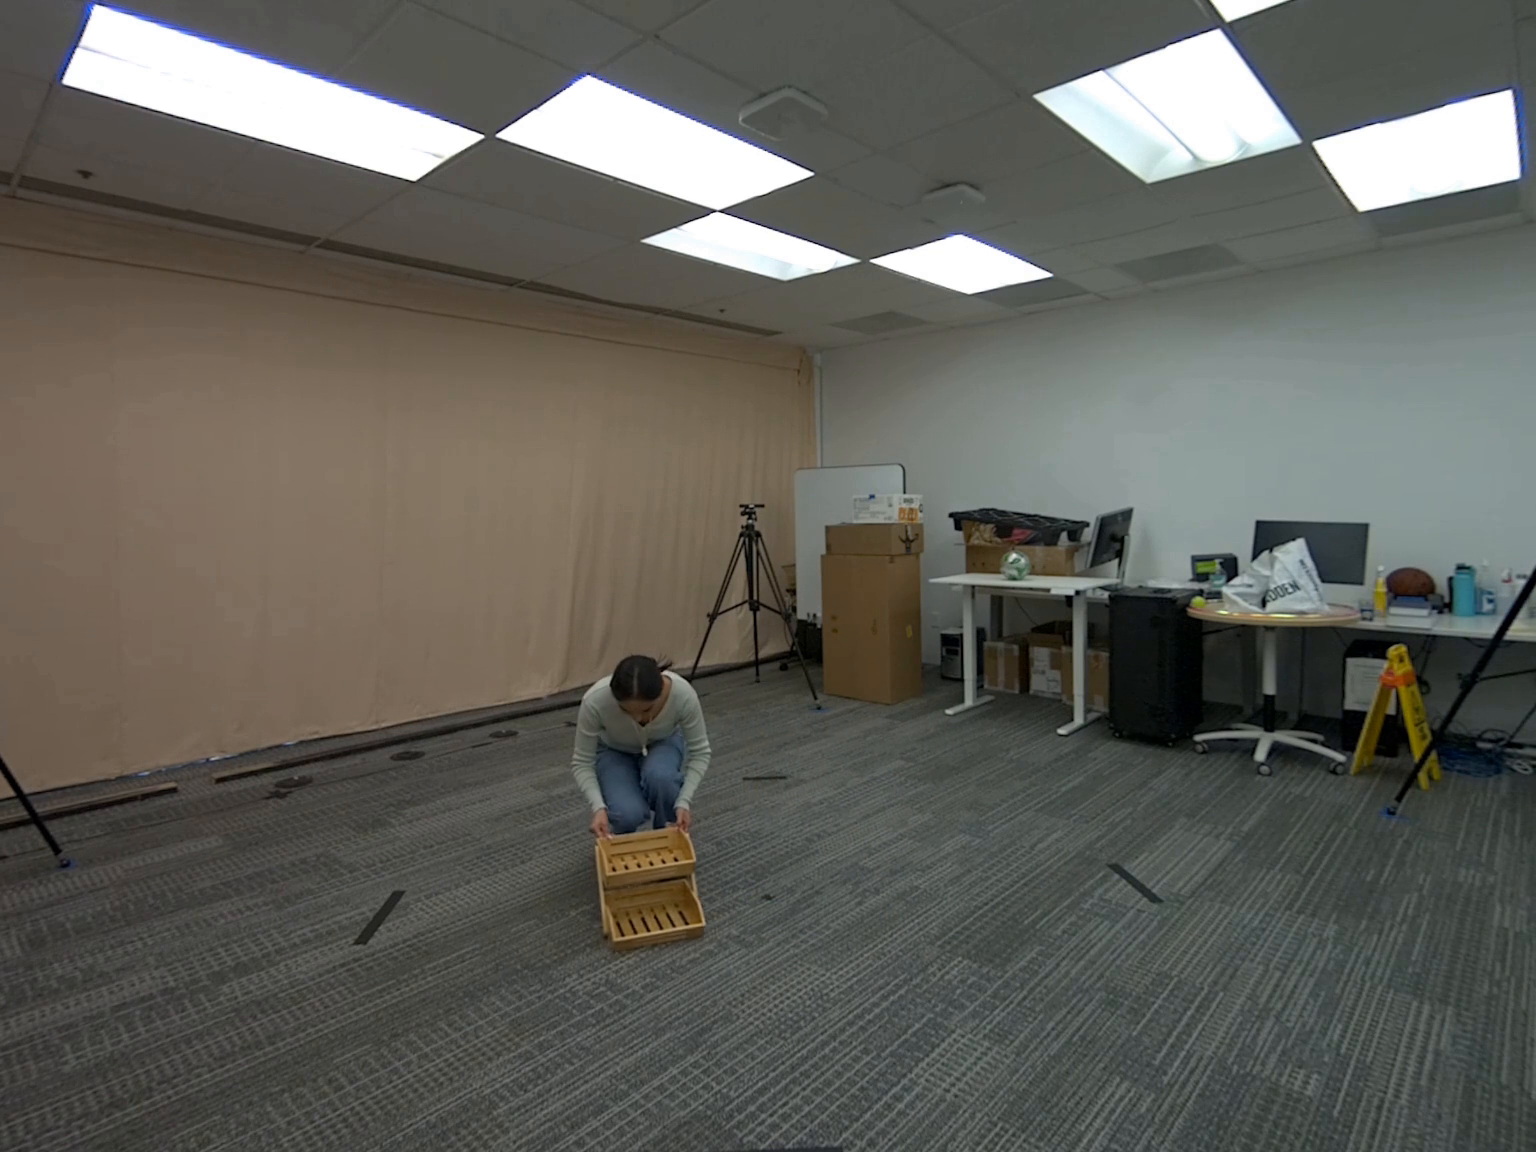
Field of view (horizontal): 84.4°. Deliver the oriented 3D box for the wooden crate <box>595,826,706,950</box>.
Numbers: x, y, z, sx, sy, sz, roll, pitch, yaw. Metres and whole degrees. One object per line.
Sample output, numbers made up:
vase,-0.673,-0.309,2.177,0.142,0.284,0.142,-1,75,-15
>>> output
wooden crate,-0.390,1.028,2.795,0.318,0.273,0.308,-3,3,-19
